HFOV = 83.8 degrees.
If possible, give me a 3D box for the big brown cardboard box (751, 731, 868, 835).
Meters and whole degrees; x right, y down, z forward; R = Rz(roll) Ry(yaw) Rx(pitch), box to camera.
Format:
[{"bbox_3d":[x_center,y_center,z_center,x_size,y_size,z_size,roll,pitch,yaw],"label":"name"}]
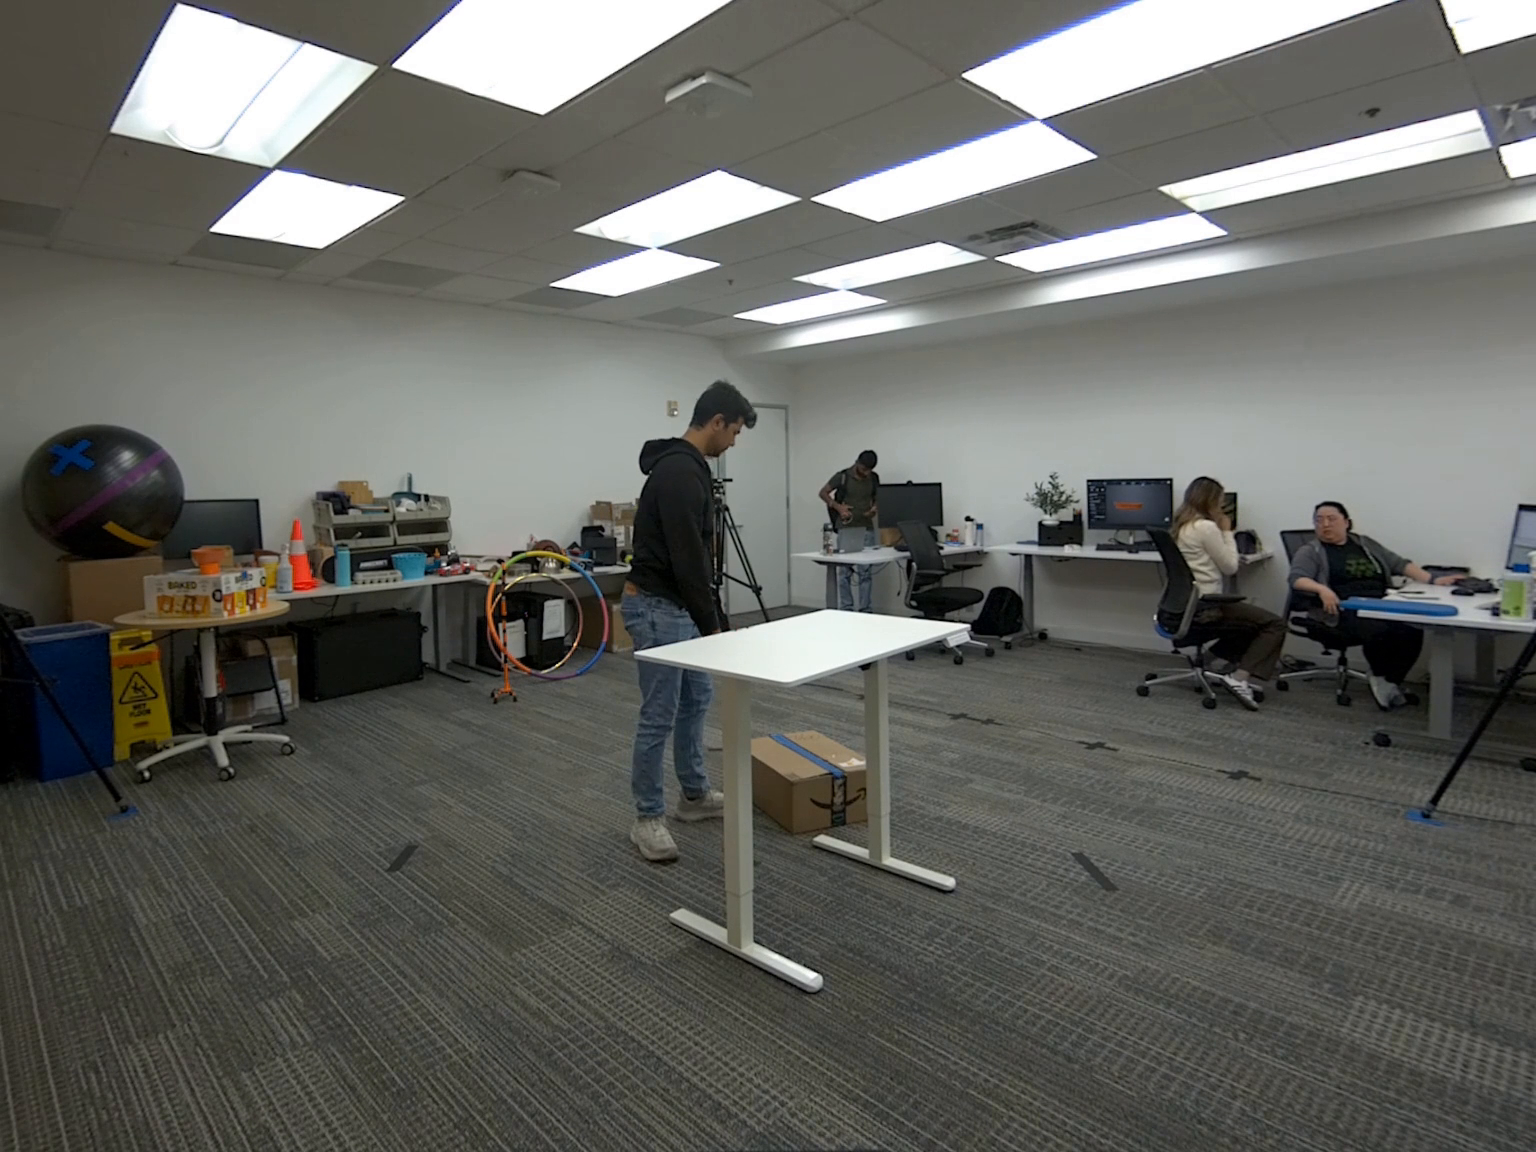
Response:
[{"bbox_3d":[0.156,0.865,3.668,0.409,0.232,0.604,-3,6,-26],"label":"big brown cardboard box"}]
